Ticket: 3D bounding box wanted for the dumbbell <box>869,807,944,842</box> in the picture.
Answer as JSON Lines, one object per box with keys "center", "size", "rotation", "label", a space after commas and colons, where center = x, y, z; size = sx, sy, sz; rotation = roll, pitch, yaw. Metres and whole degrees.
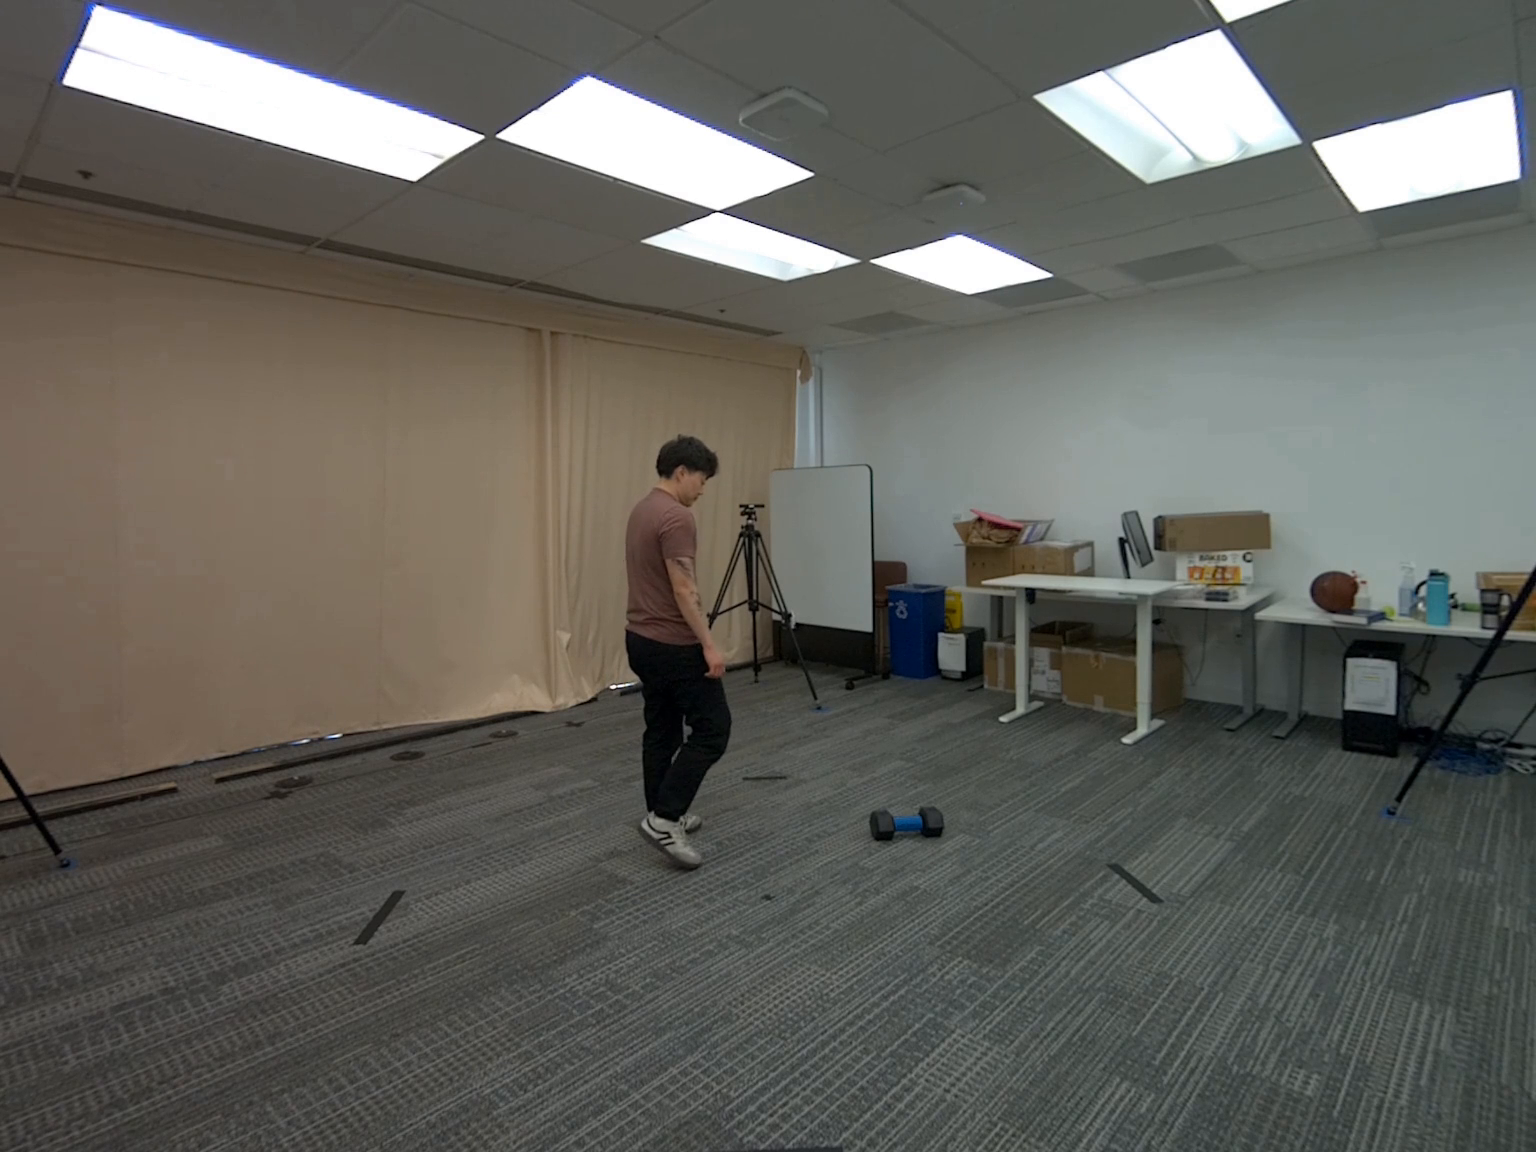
{"center": [0.584, 1.034, 3.501], "size": [0.291, 0.108, 0.124], "rotation": [-2, 4, -7], "label": "dumbbell"}
